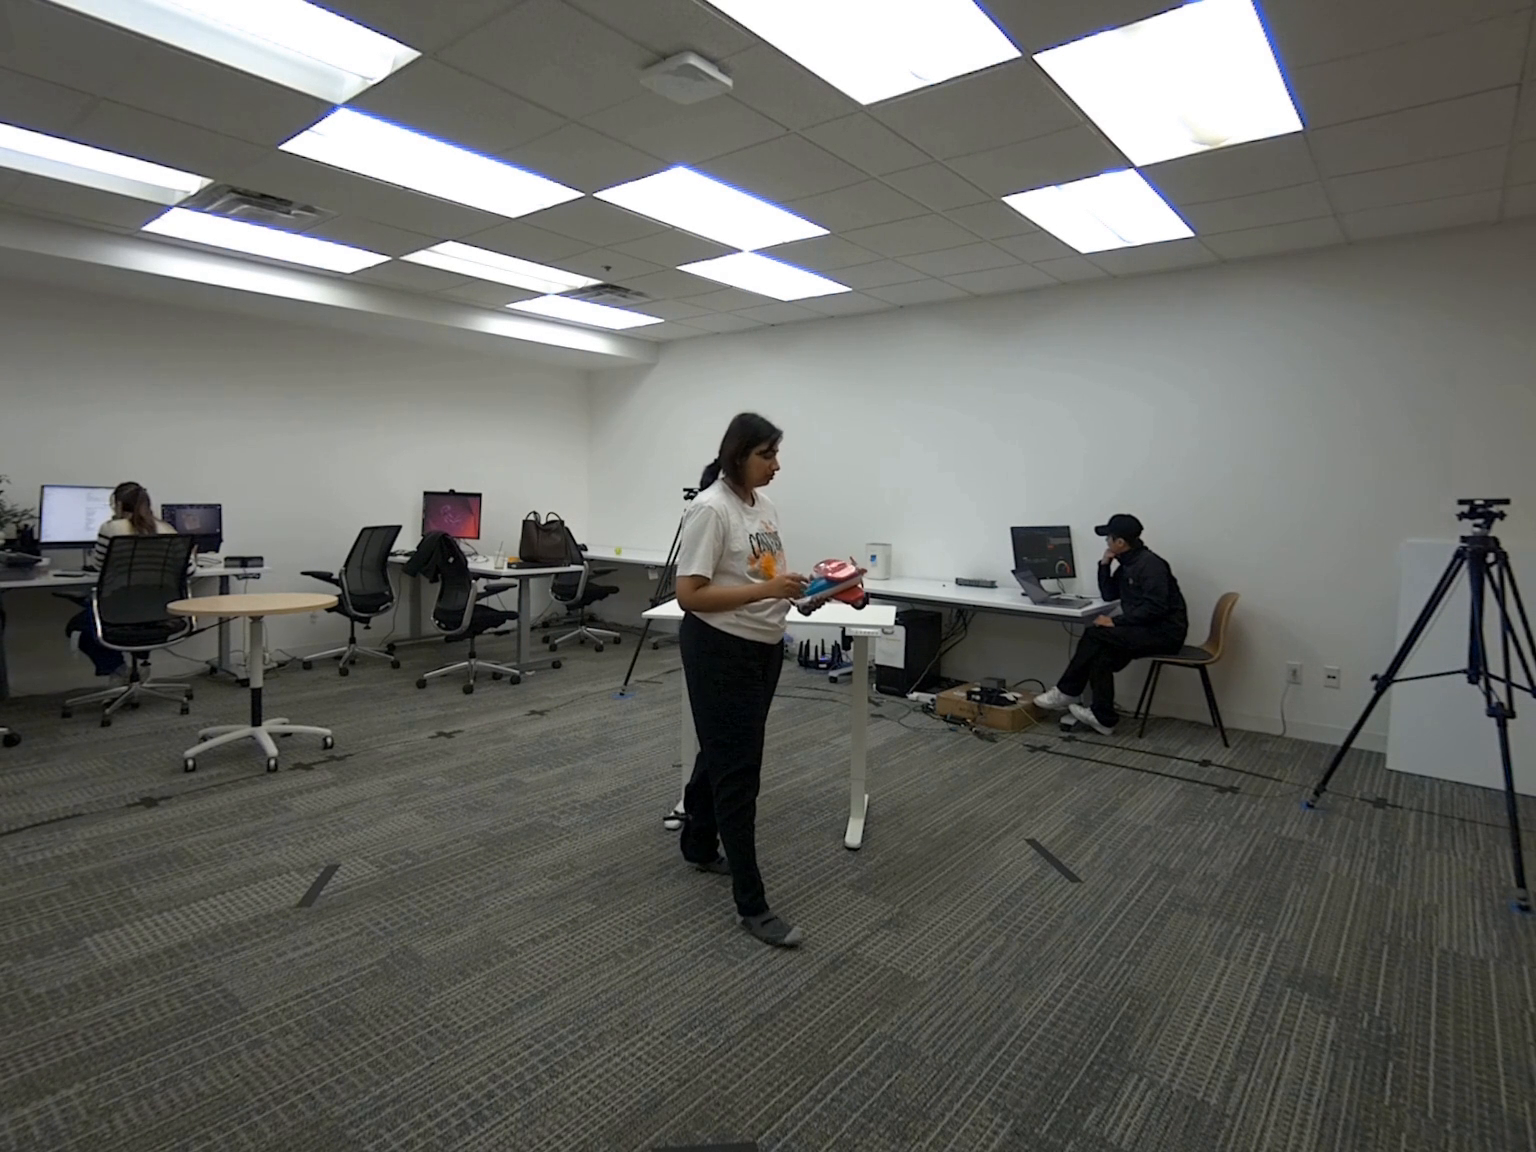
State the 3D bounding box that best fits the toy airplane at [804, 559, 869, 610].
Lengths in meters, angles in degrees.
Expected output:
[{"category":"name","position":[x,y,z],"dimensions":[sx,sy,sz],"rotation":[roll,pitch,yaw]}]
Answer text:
[{"category":"toy airplane","position":[0.208,0.041,2.805],"dimensions":[0.259,0.155,0.253],"rotation":[3,12,43]}]
